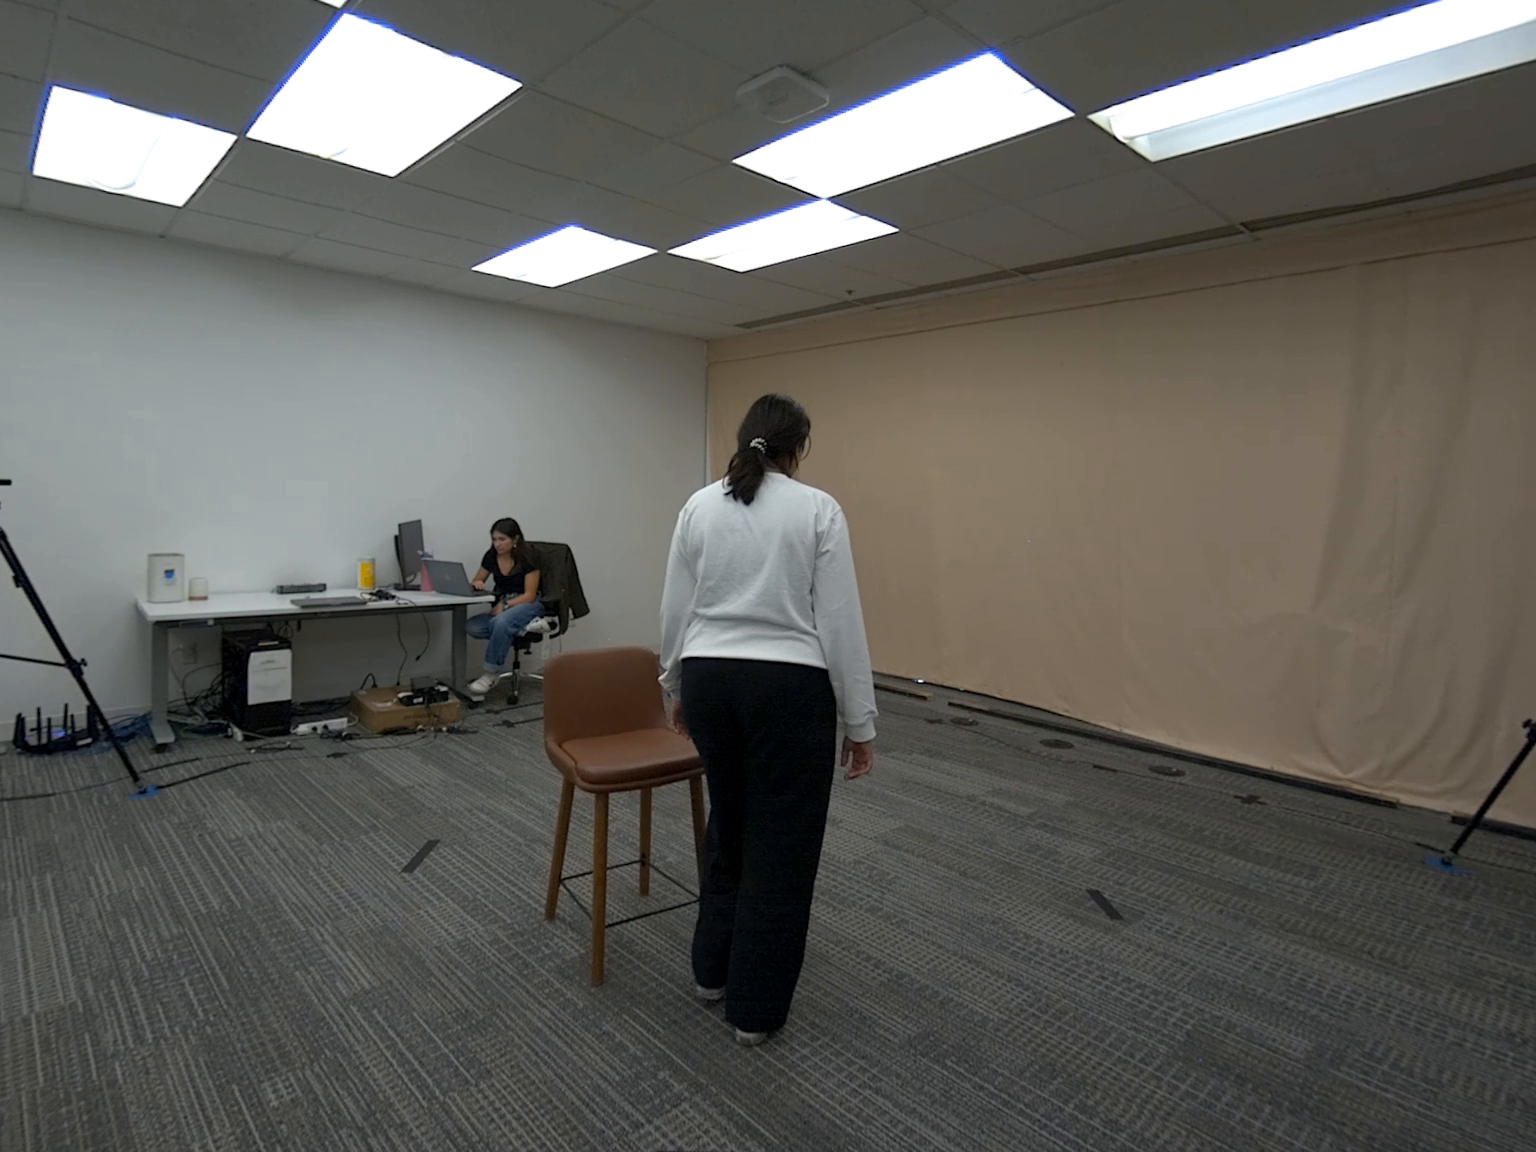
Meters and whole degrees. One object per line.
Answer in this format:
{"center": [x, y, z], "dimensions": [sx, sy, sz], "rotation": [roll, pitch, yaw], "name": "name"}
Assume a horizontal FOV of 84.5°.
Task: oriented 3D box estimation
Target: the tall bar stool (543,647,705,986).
{"center": [-0.452, 0.706, 2.658], "dimensions": [0.447, 0.888, 0.478], "rotation": [-1, 2, -33], "name": "tall bar stool"}
